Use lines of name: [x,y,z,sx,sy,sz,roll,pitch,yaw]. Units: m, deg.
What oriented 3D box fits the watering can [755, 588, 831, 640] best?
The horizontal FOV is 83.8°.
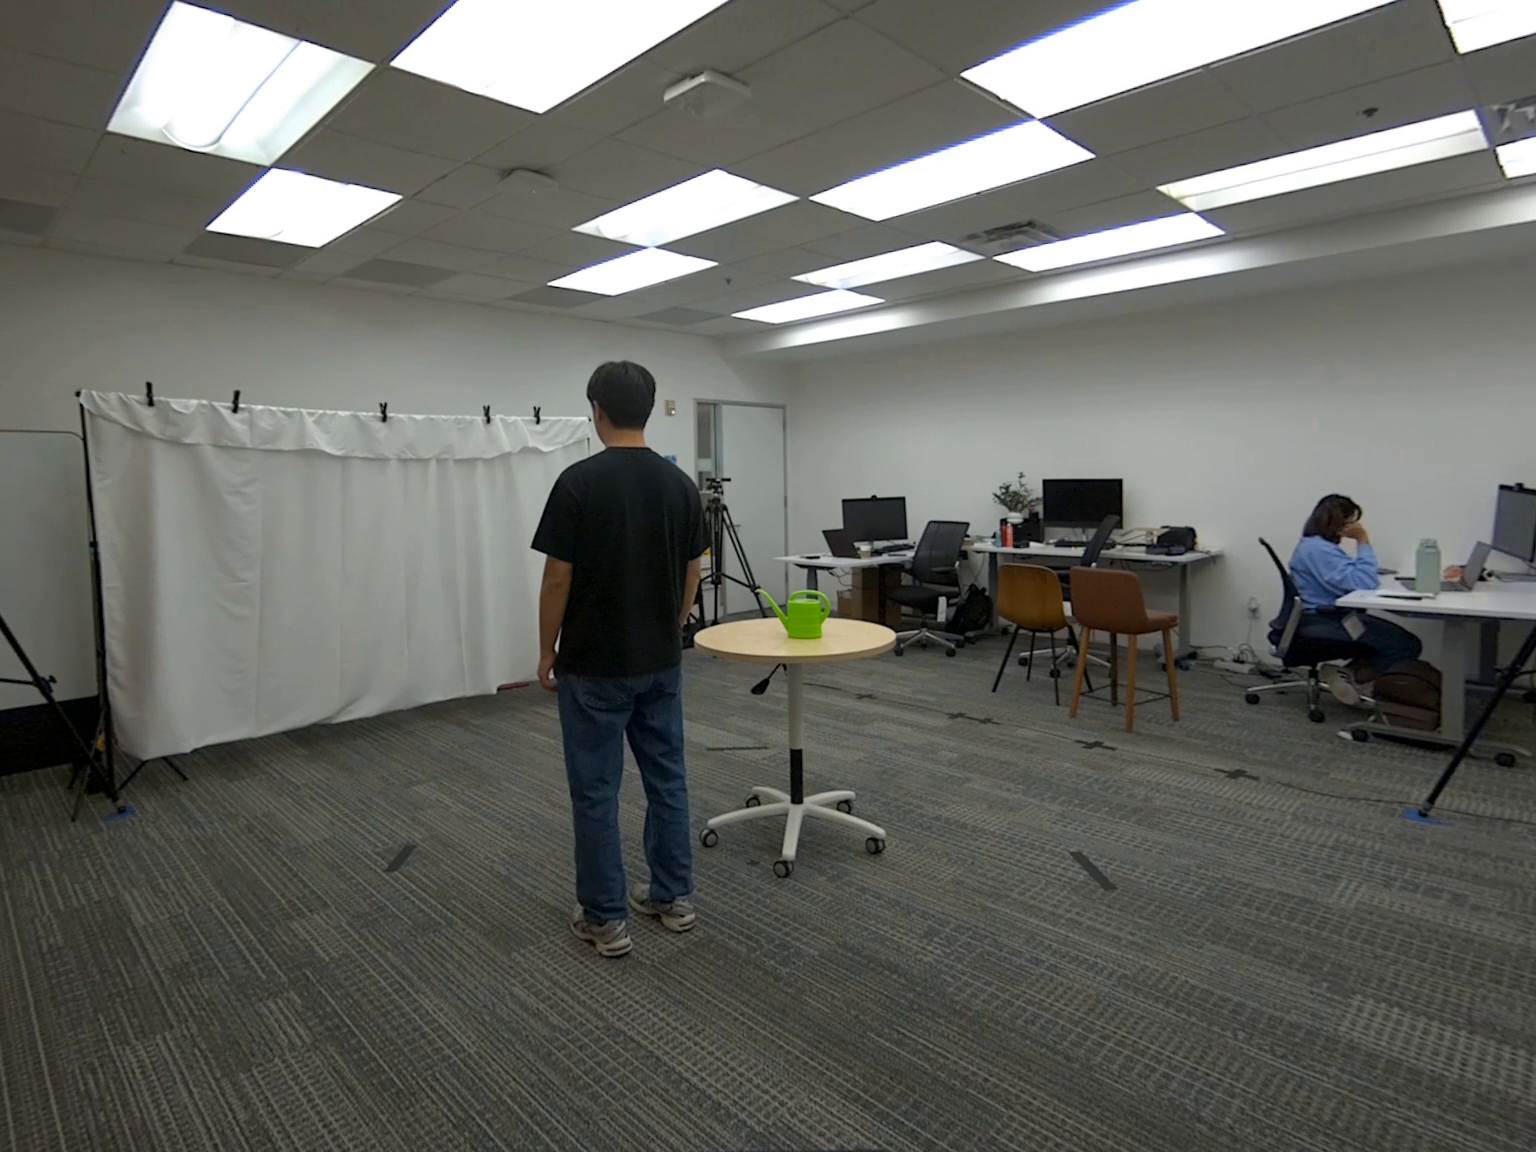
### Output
watering can: [0.104,0.144,3.234,0.285,0.176,0.096,4,6,26]
